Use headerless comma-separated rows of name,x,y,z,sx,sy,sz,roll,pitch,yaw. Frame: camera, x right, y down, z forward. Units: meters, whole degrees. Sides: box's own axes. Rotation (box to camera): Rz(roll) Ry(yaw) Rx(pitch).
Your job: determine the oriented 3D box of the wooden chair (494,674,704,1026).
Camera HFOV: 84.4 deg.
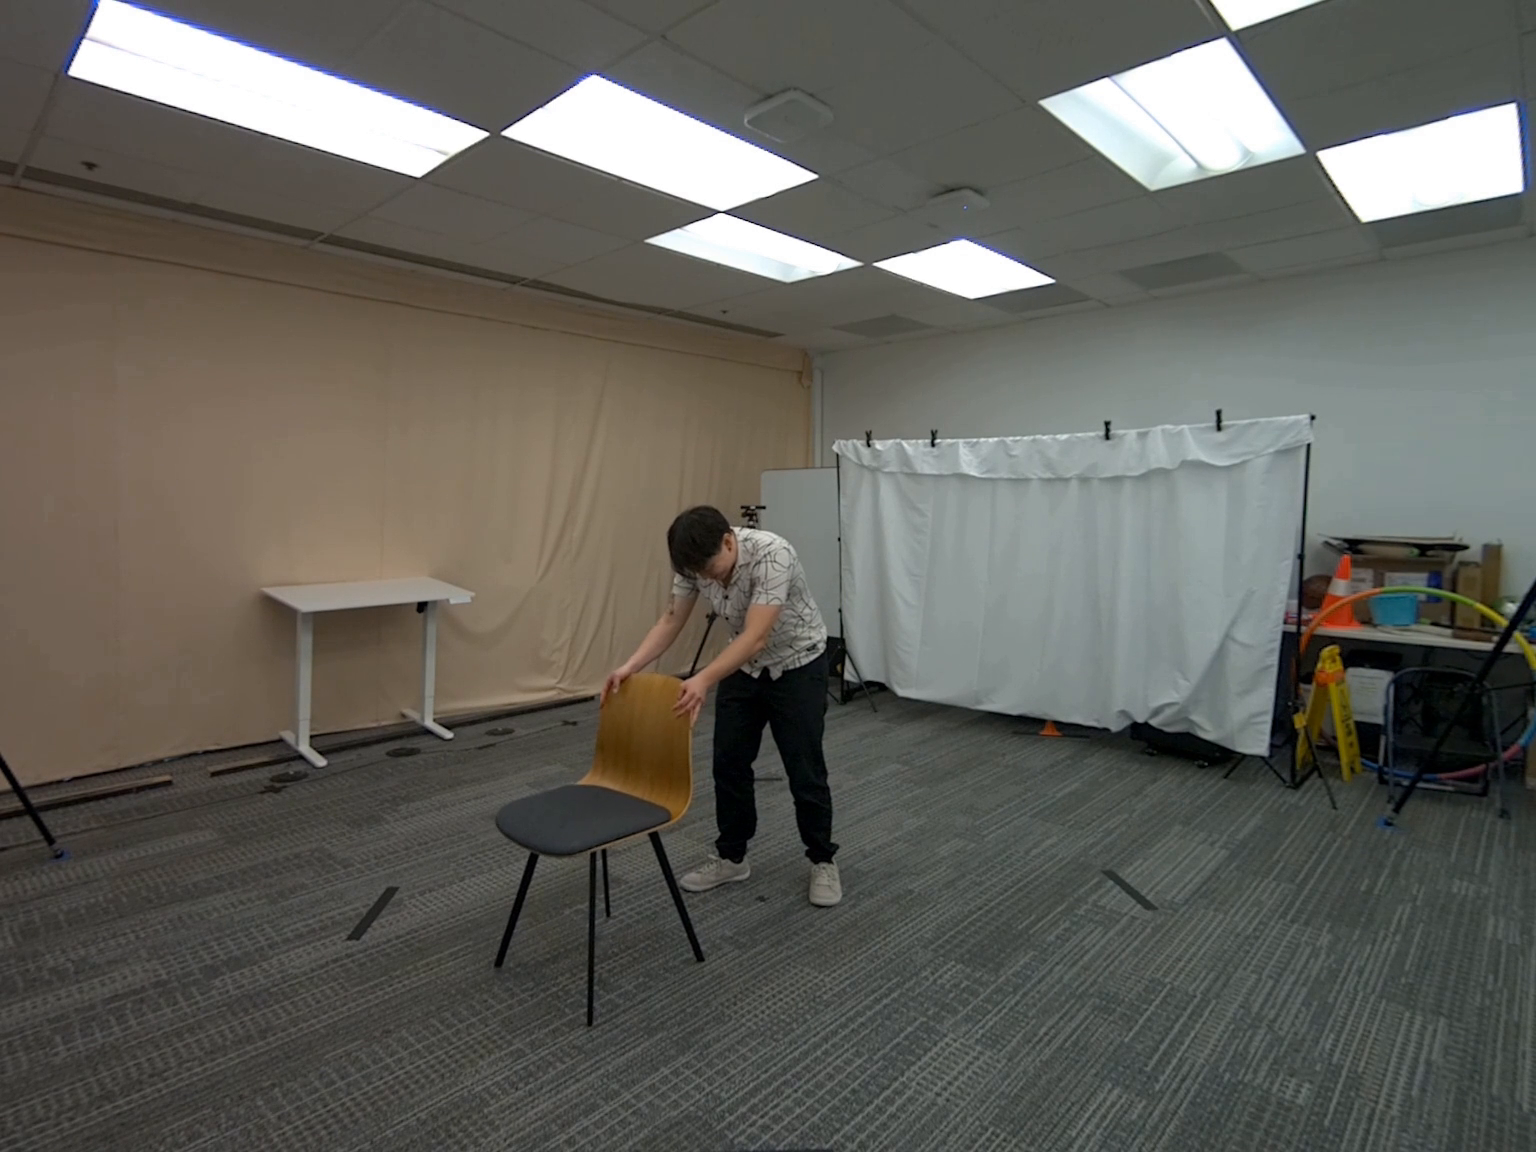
wooden chair,-0.509,0.754,2.527,0.494,0.878,0.506,3,-1,40
